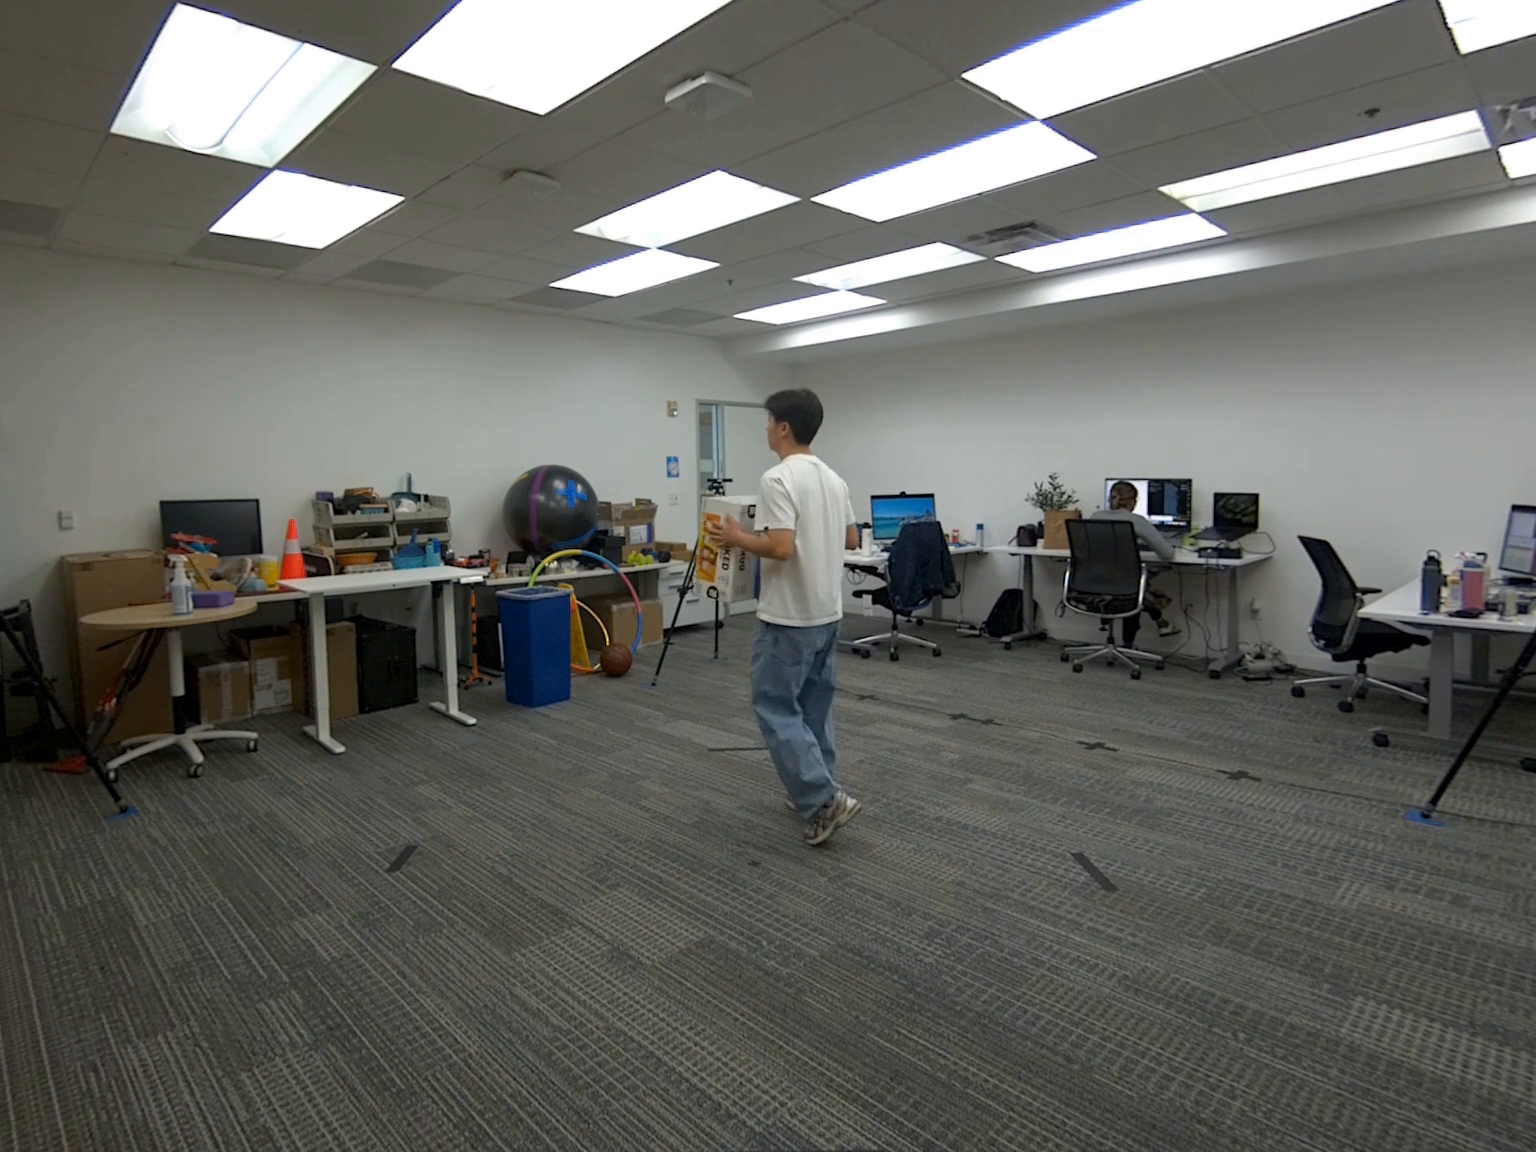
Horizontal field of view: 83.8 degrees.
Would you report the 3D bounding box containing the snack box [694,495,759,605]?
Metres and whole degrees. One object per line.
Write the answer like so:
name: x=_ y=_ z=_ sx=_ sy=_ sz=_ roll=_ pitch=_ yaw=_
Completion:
snack box: x=-0.105 y=-0.116 z=3.565 sx=0.212 sy=0.402 sz=0.332 roll=12 pitch=12 yaw=37
